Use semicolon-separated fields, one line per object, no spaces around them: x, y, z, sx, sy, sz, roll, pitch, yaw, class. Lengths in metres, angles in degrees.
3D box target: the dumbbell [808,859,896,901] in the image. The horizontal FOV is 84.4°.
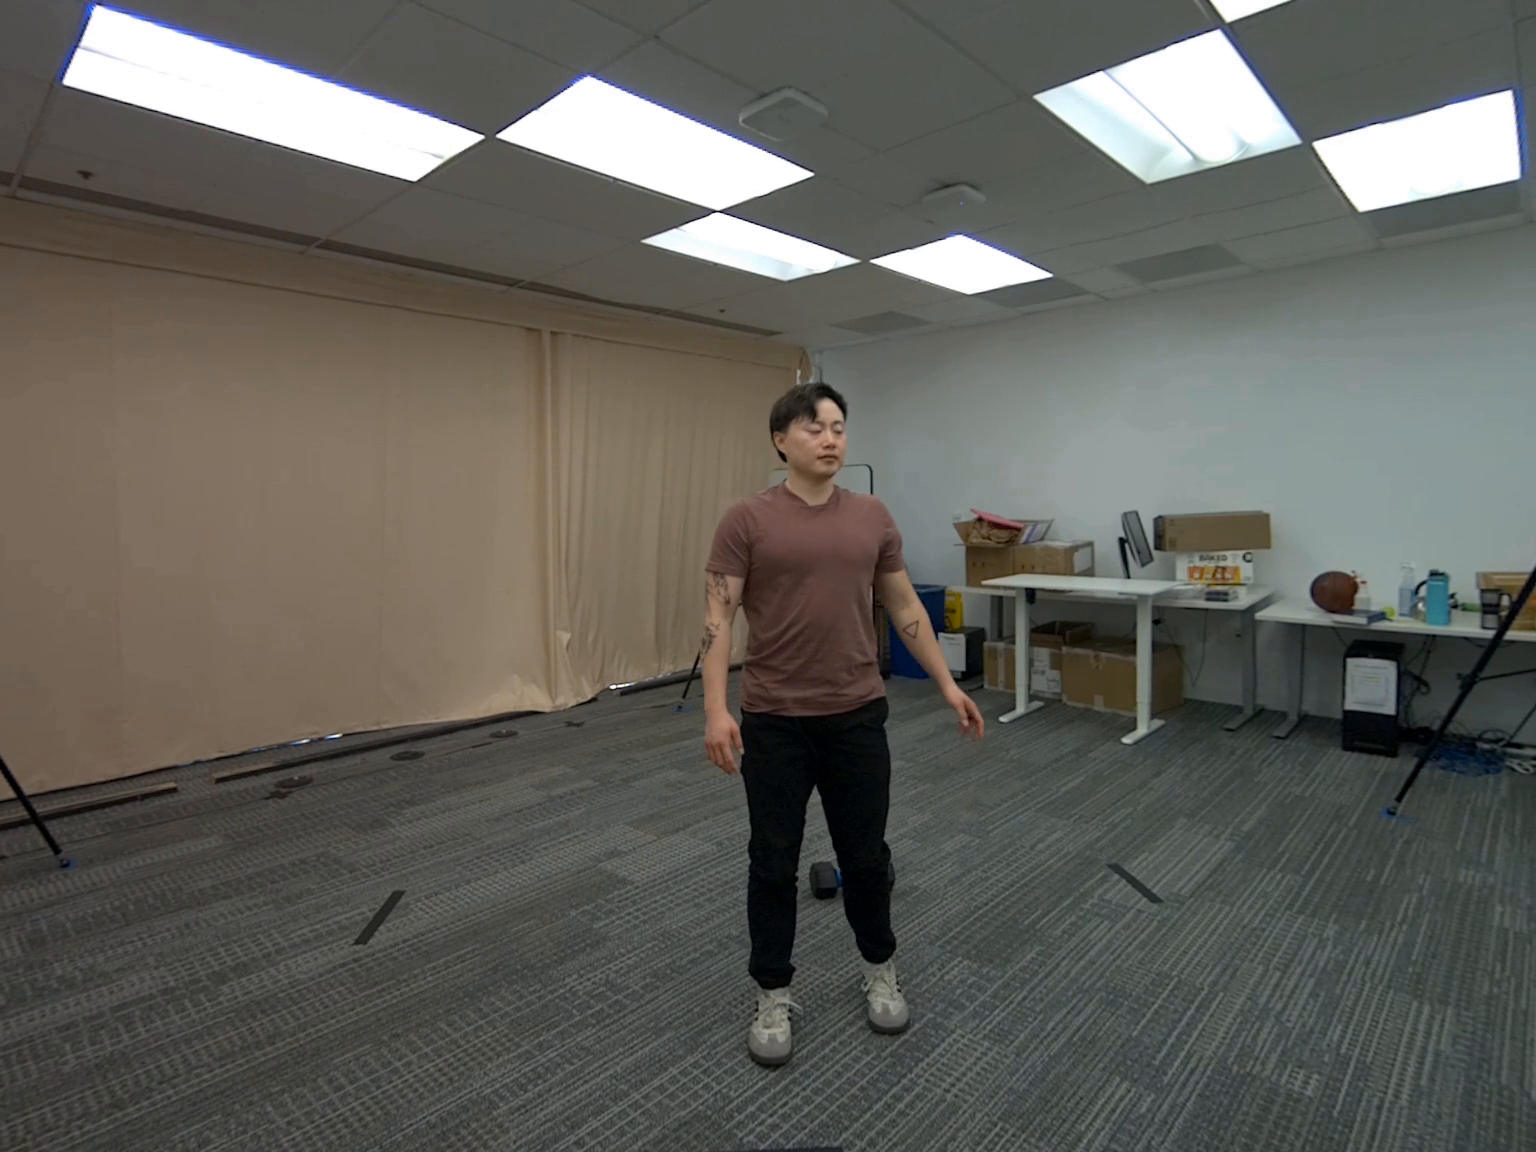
0.303;1.079;3.007;0.290;0.125;0.108;-2;-26;-10;dumbbell
